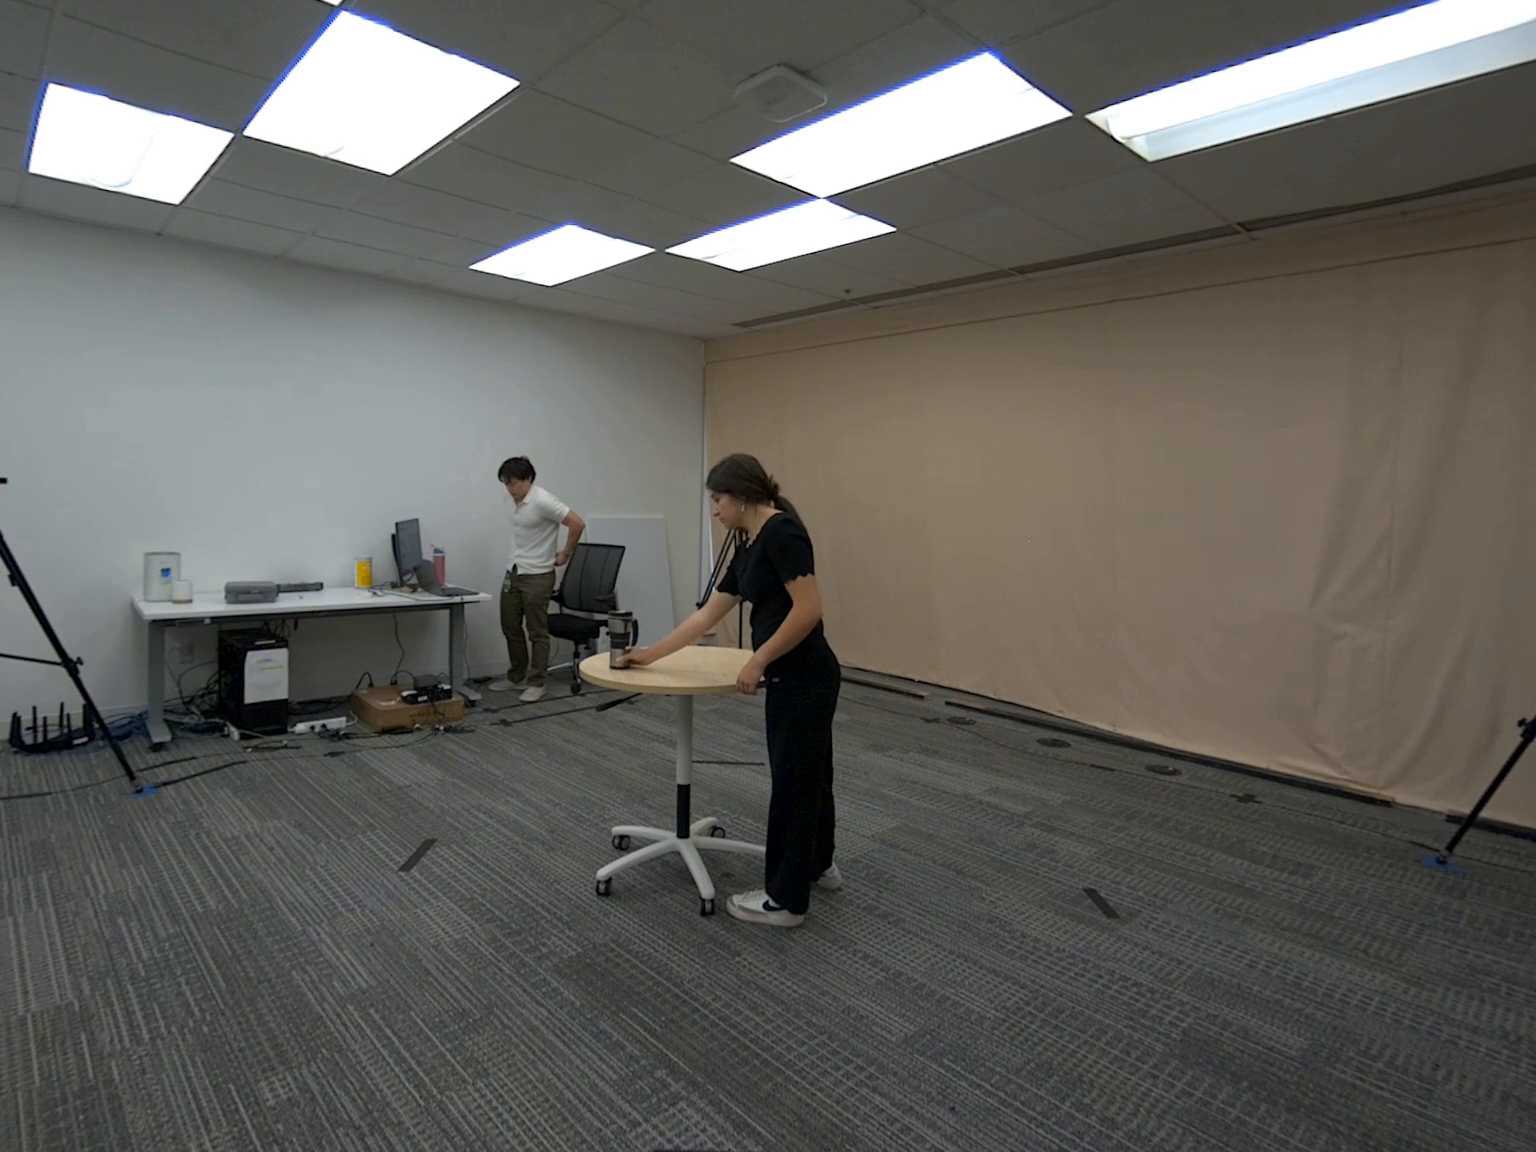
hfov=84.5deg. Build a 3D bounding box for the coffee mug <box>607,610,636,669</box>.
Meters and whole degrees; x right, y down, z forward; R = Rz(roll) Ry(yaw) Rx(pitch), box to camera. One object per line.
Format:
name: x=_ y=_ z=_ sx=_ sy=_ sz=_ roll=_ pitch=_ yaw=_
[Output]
coffee mug: x=-0.513 y=0.224 z=2.948 sx=0.086 sy=0.203 sz=0.124 roll=4 pitch=0 yaw=-30
